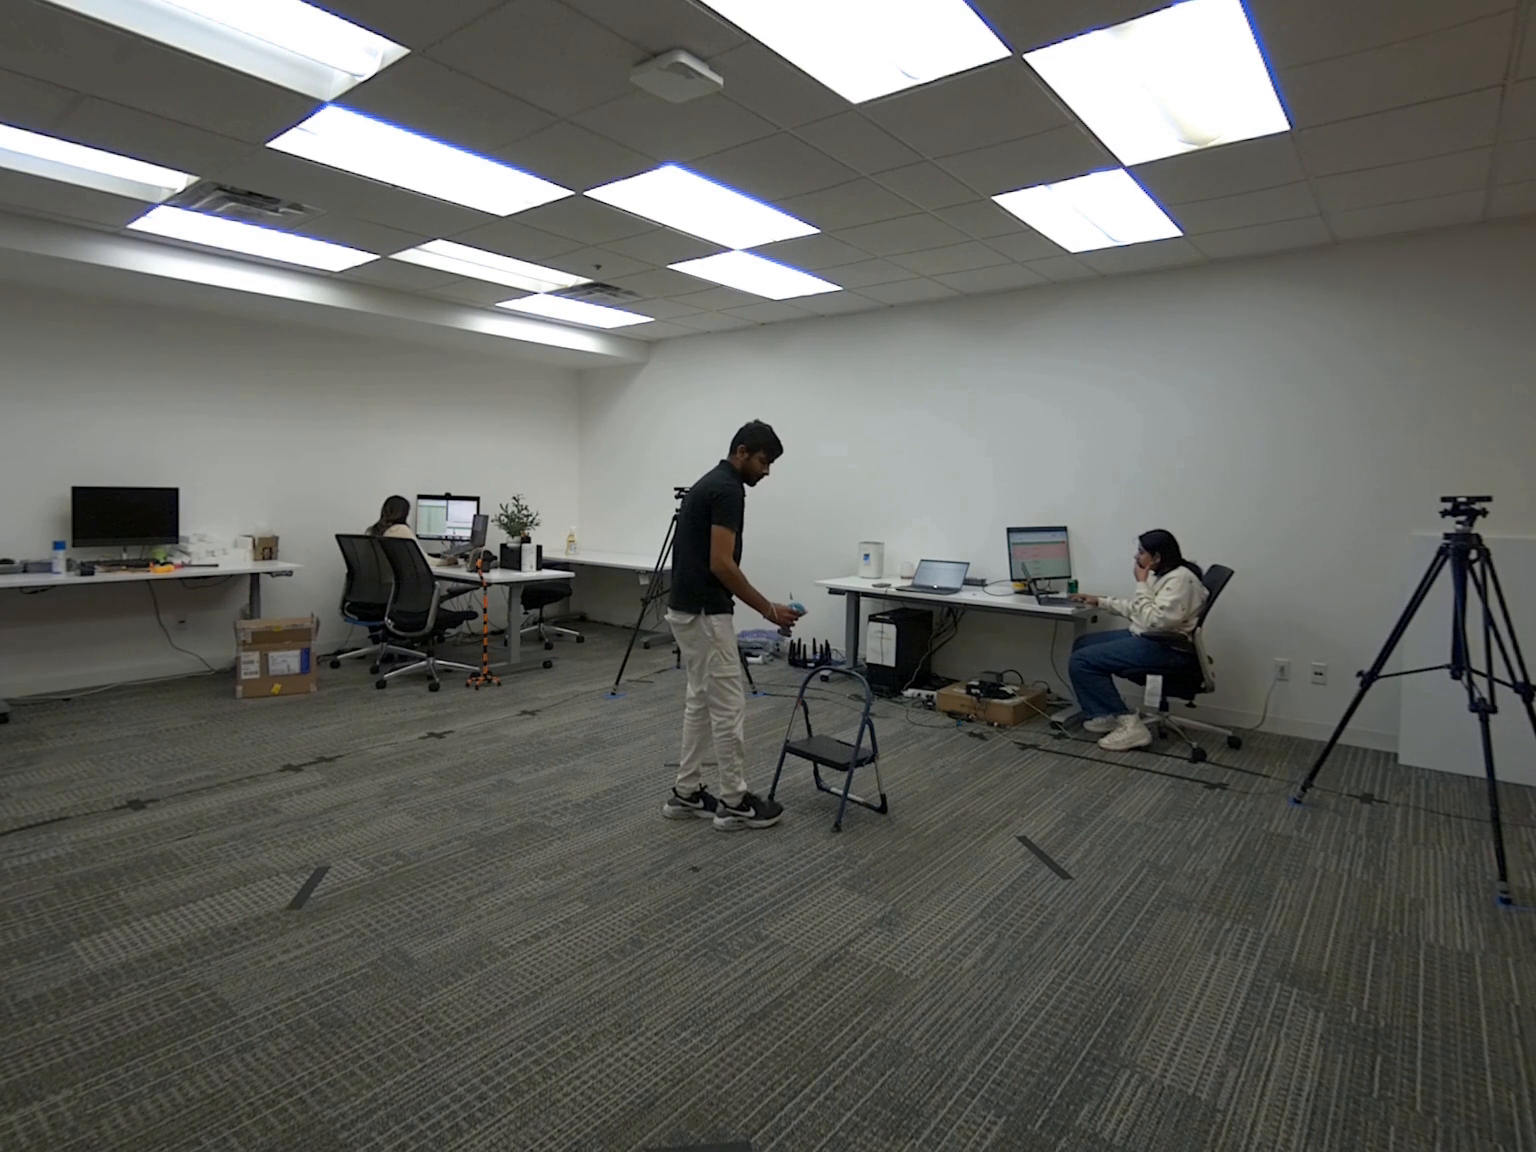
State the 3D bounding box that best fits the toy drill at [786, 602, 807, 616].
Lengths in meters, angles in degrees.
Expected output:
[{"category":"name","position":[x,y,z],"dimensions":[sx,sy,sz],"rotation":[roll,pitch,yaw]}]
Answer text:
[{"category":"toy drill","position":[0.098,0.182,3.501],"dimensions":[0.063,0.146,0.164],"rotation":[27,4,28]}]
